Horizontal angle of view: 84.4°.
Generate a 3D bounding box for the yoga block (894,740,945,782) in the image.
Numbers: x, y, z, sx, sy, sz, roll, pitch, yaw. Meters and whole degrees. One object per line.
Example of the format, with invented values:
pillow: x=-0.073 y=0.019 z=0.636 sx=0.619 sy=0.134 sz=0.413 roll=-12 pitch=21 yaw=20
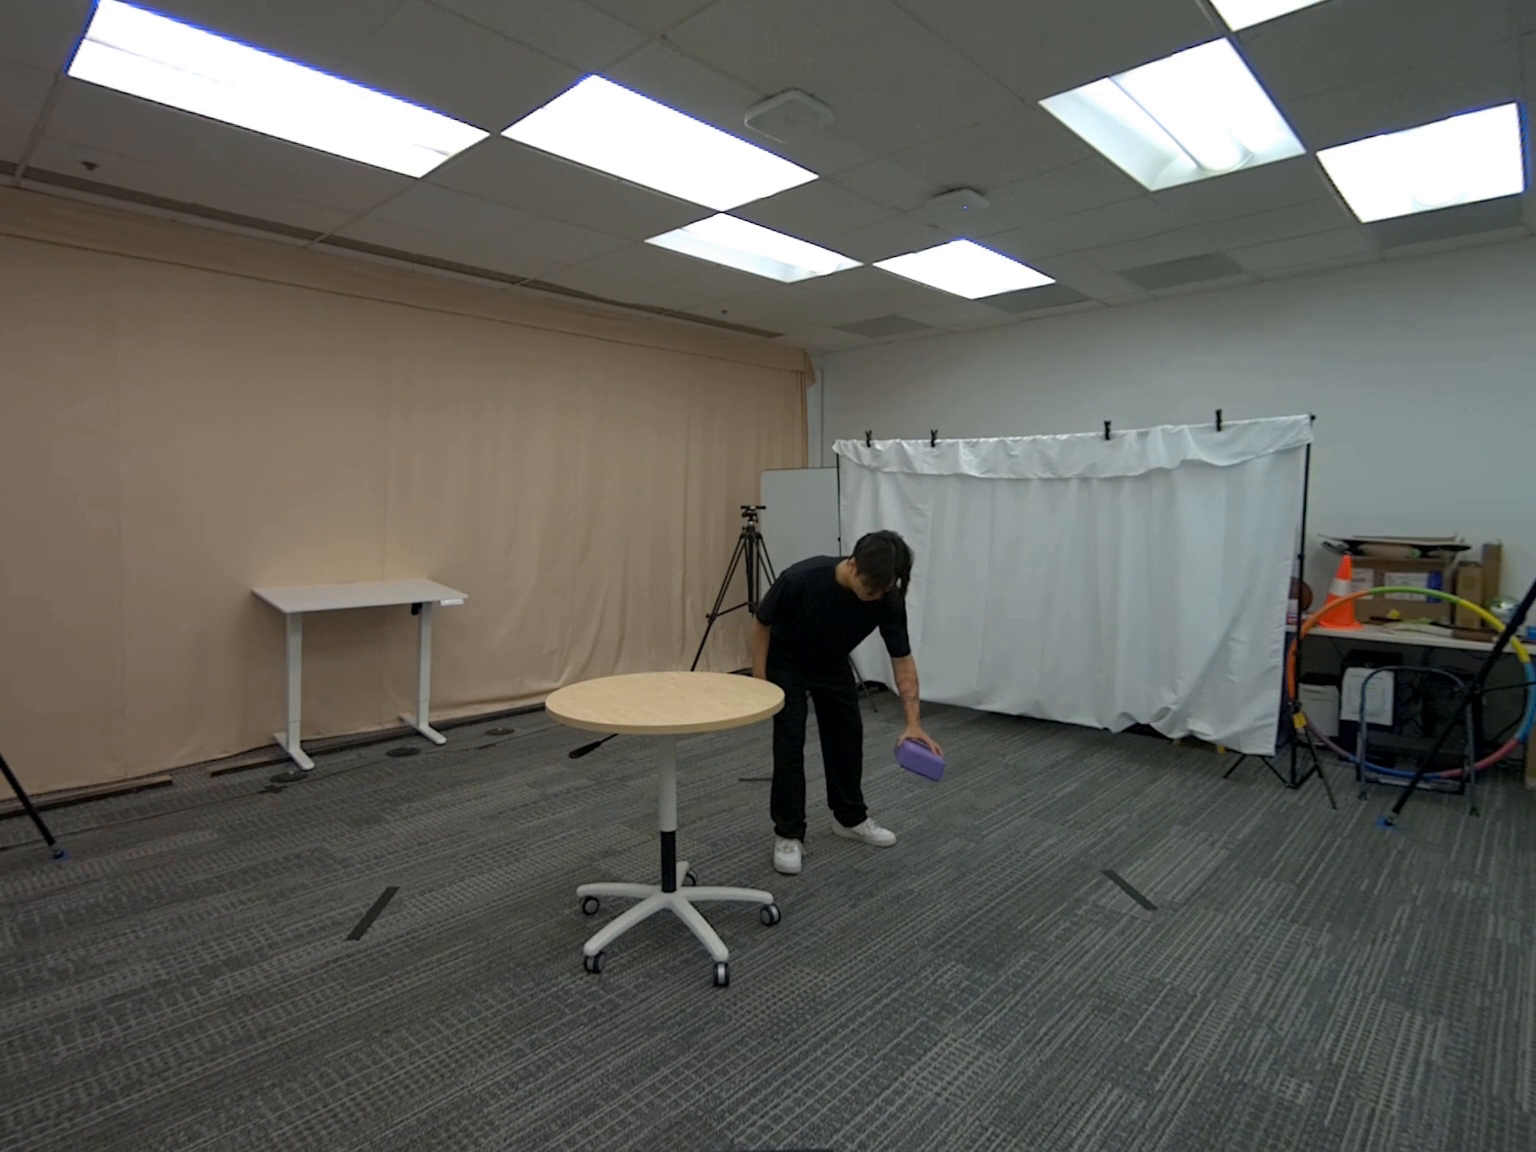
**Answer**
yoga block: x=0.554 y=0.657 z=3.028 sx=0.150 sy=0.076 sz=0.227 roll=21 pitch=0 yaw=5
